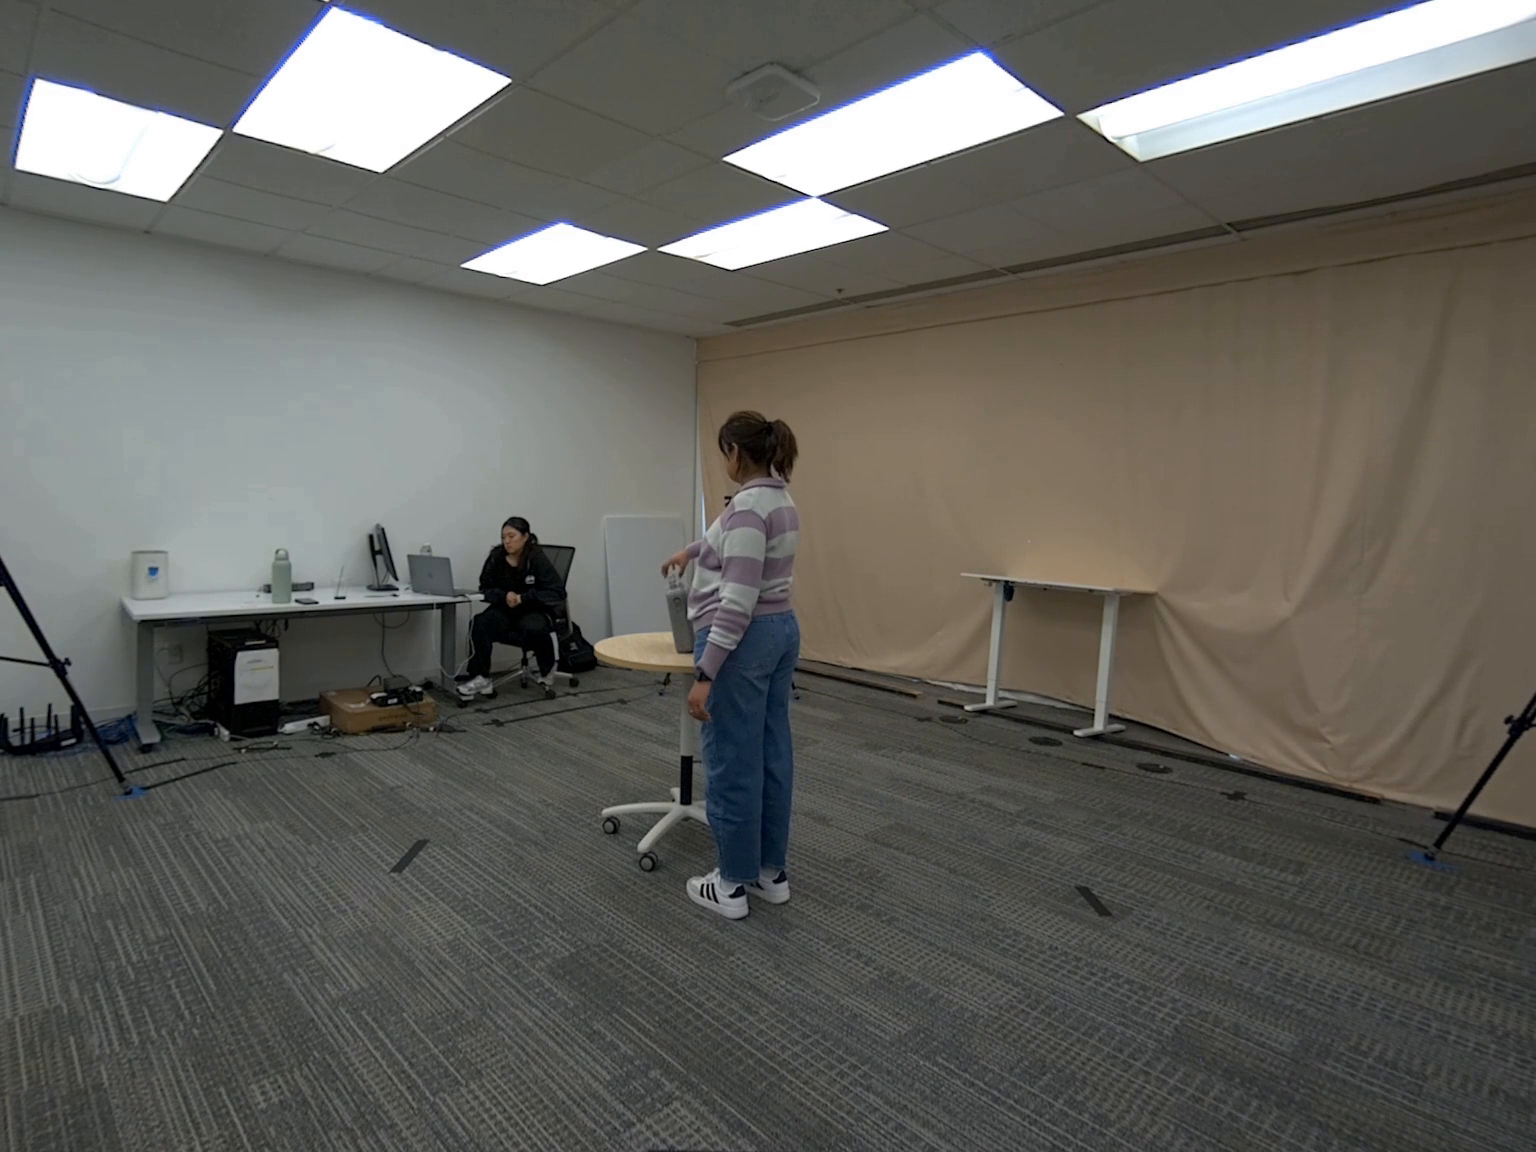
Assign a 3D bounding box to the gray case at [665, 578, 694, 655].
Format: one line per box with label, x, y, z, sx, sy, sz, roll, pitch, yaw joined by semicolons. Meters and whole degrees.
gray case;-0.348;0.163;3.369;0.104;0.260;0.258;-8;2;-5
